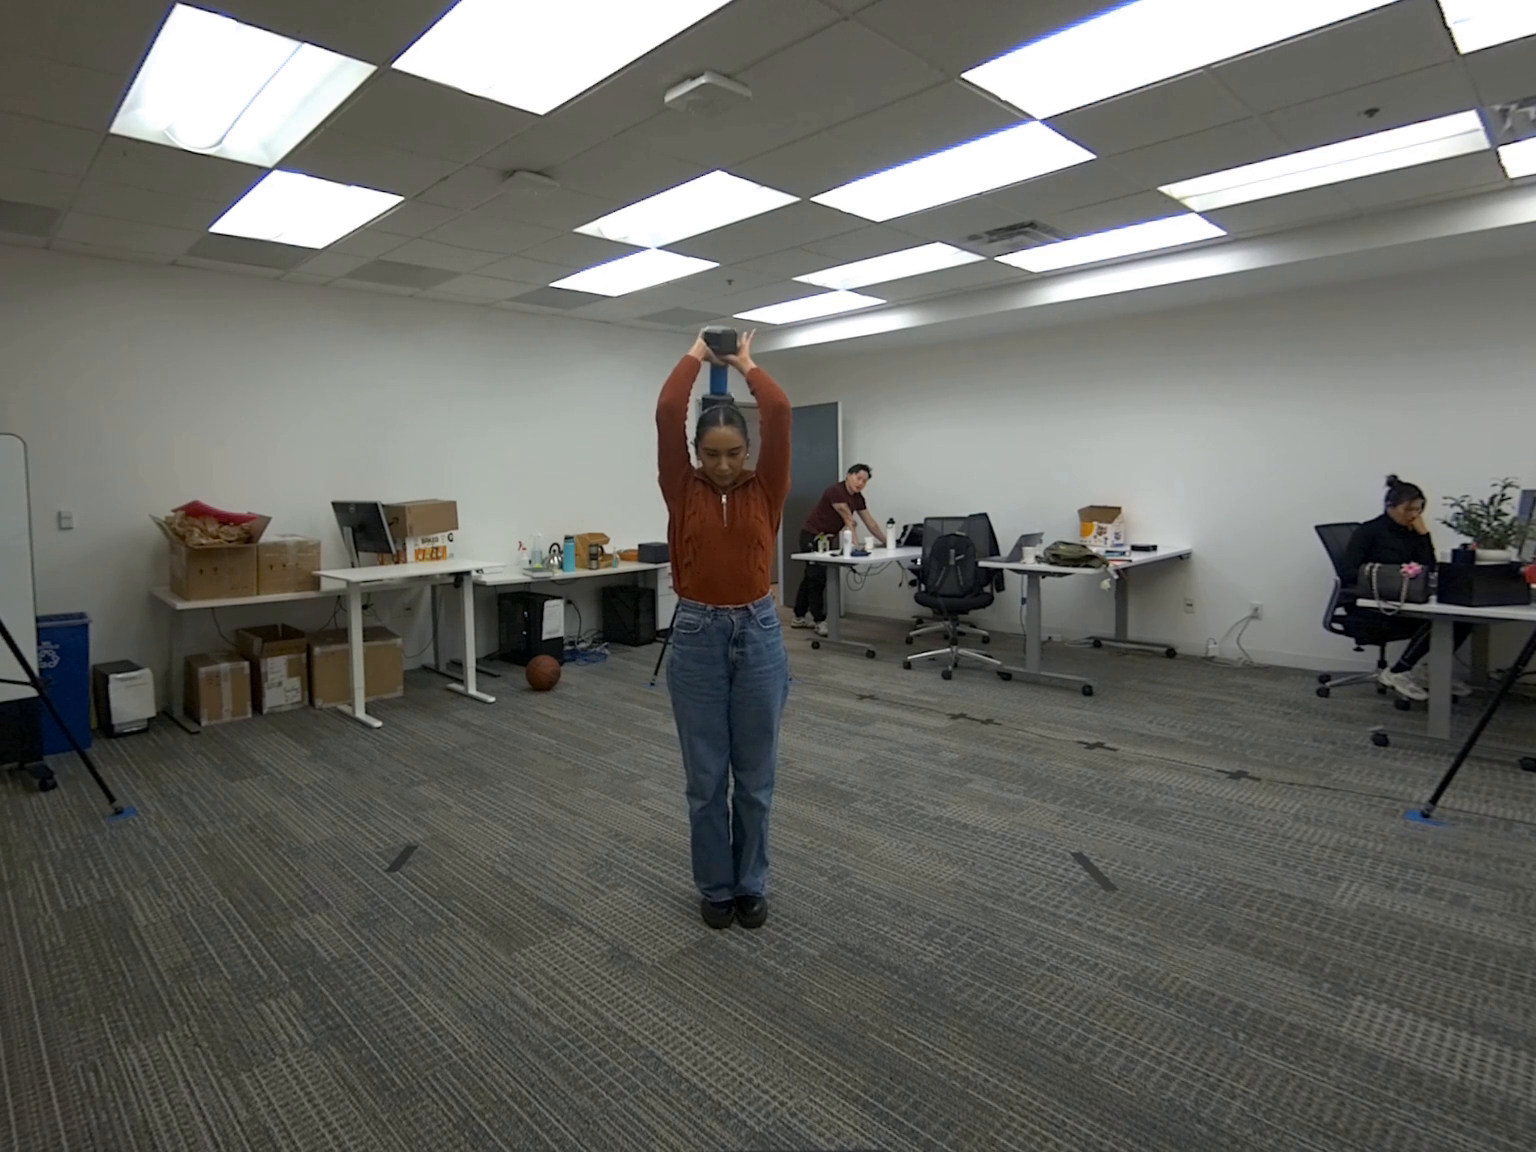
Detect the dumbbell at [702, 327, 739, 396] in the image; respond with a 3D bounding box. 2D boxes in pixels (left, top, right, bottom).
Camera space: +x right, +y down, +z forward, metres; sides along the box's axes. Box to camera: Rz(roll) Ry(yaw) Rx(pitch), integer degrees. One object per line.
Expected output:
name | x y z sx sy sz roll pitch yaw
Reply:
dumbbell | -0.160 -0.663 2.805 0.108 0.288 0.126 1 21 -7
